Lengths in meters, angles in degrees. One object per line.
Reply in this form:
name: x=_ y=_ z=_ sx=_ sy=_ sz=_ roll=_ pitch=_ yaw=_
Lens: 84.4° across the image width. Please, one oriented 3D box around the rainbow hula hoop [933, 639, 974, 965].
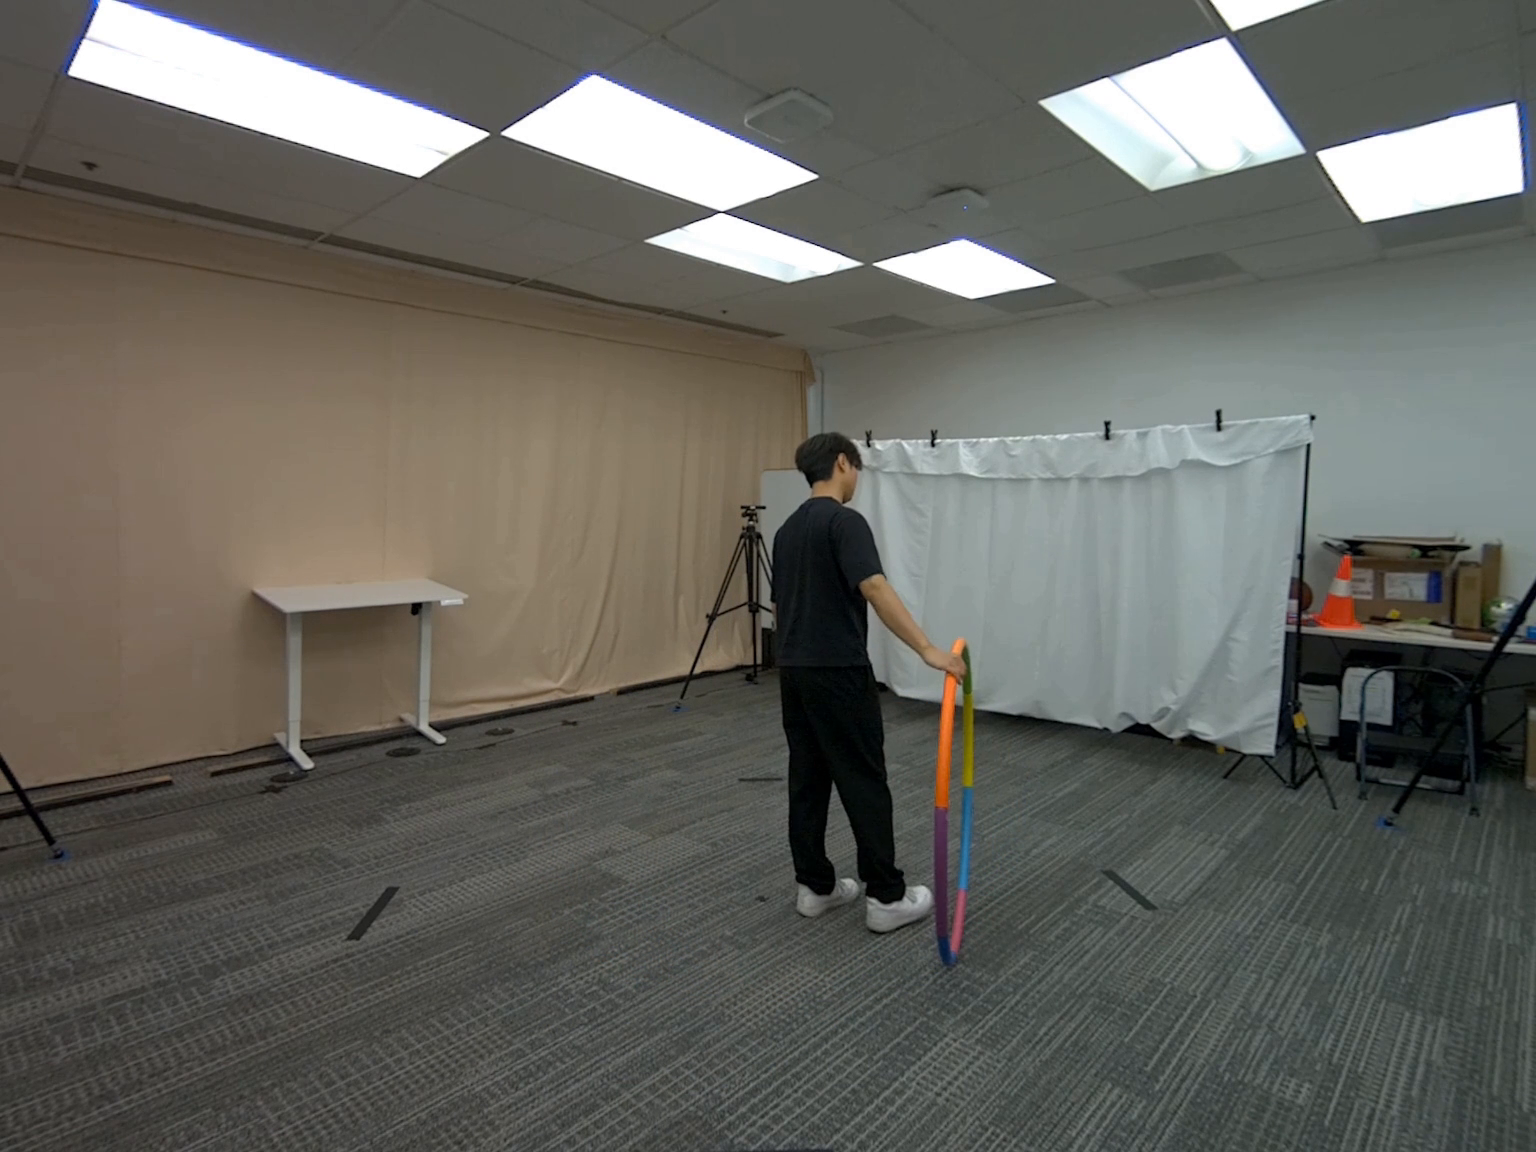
rainbow hula hoop: x=0.593 y=0.689 z=2.638 sx=0.036 sy=0.976 sz=0.960 roll=2 pitch=4 yaw=18
